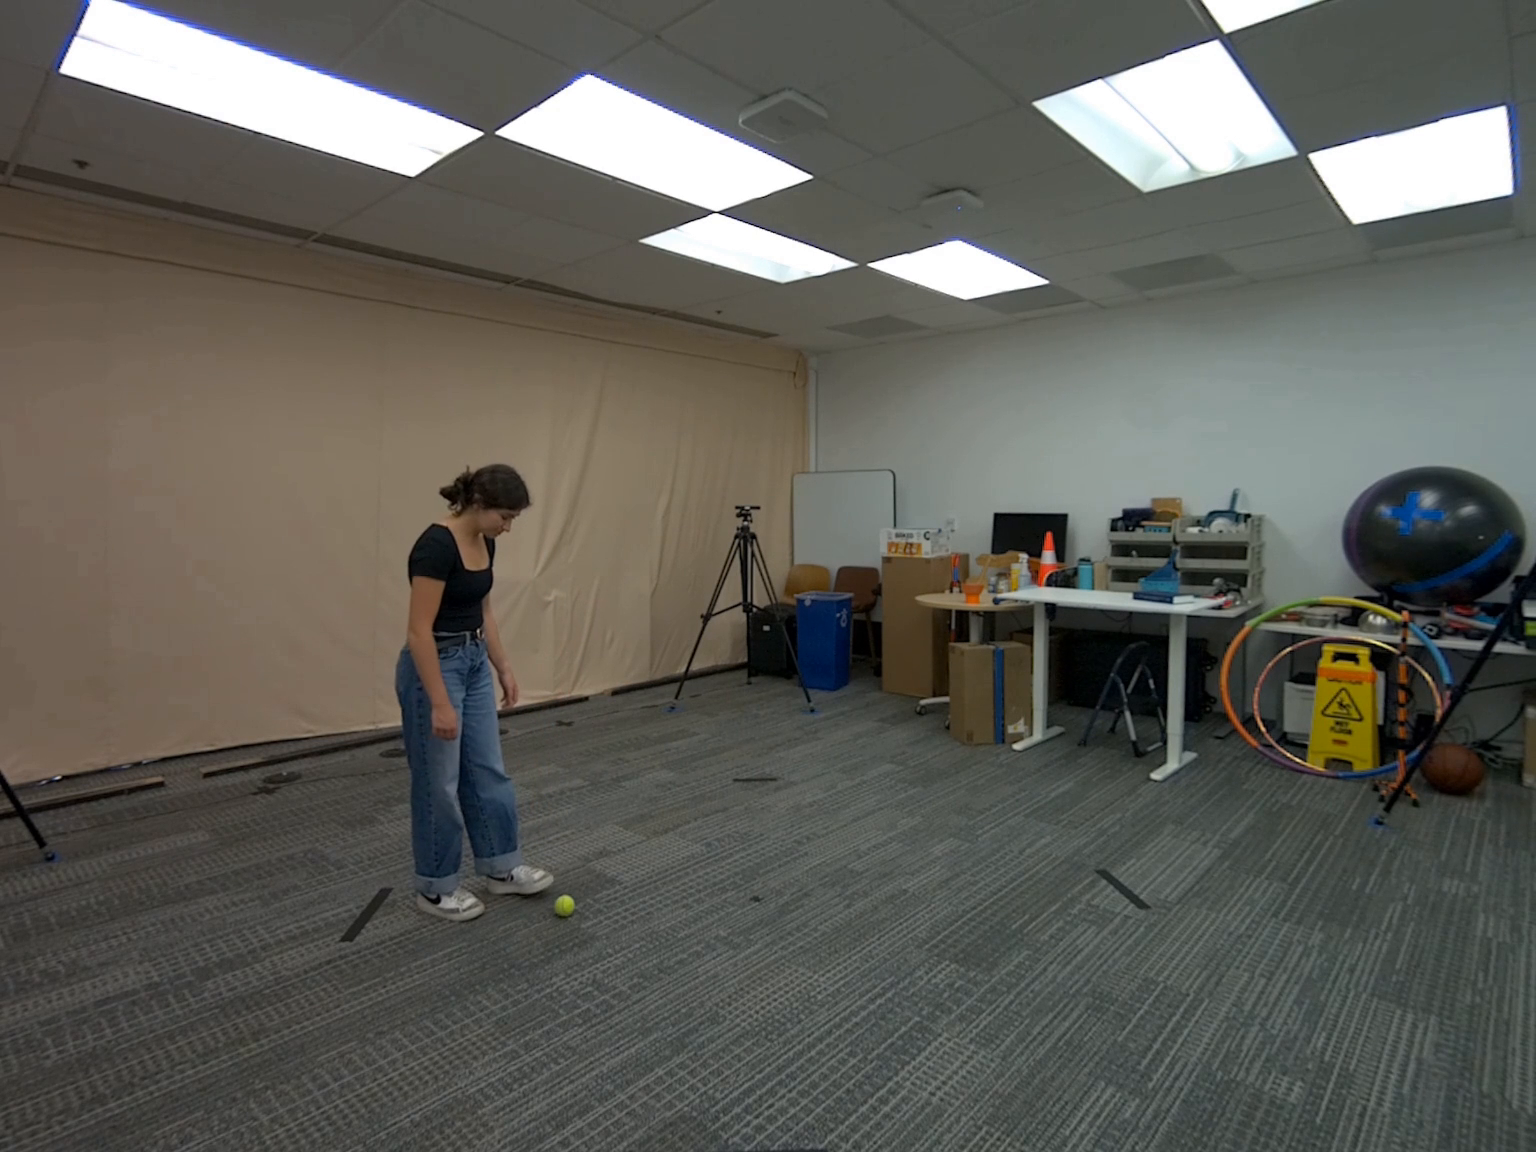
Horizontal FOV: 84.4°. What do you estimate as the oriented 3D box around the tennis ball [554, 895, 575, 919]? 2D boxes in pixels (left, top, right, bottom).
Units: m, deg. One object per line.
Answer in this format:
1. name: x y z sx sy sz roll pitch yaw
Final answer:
1. tennis ball: -0.689 1.108 2.862 0.066 0.066 0.067 0 4 -2
